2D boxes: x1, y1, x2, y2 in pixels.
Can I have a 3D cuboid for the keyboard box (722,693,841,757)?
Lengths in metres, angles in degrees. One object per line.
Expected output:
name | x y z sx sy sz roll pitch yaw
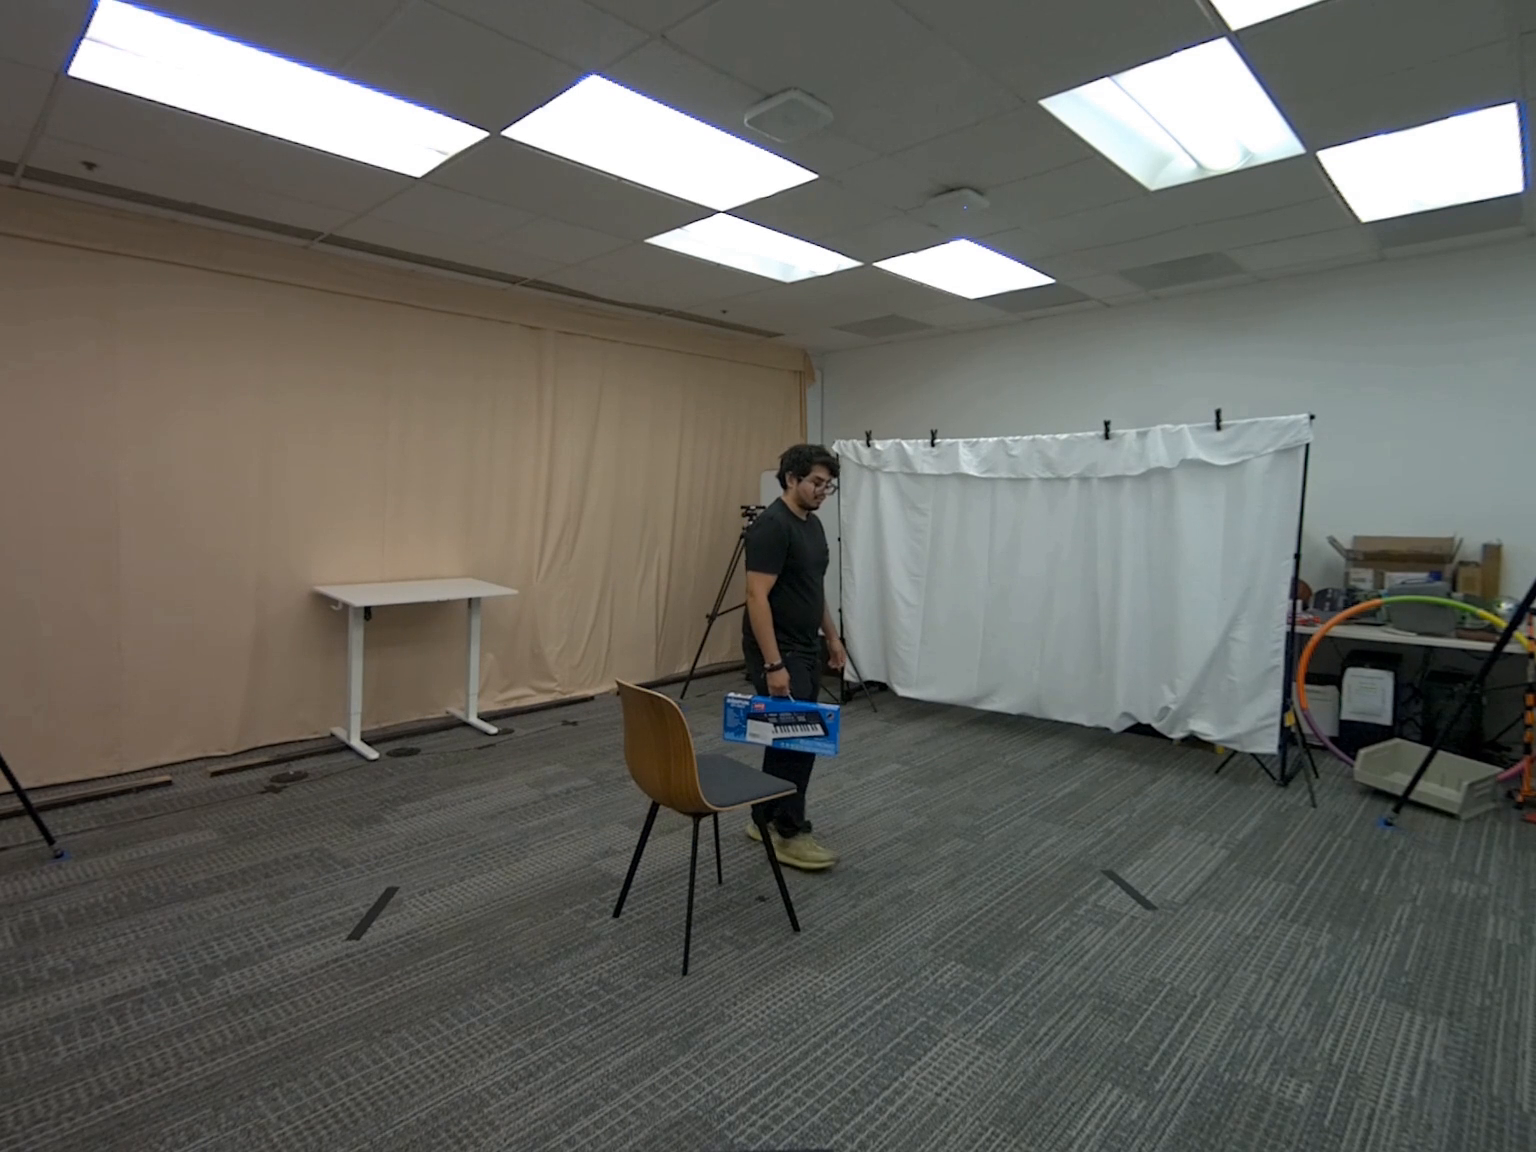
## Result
keyboard box | 0.047 0.551 3.140 0.446 0.175 0.058 4 7 20
